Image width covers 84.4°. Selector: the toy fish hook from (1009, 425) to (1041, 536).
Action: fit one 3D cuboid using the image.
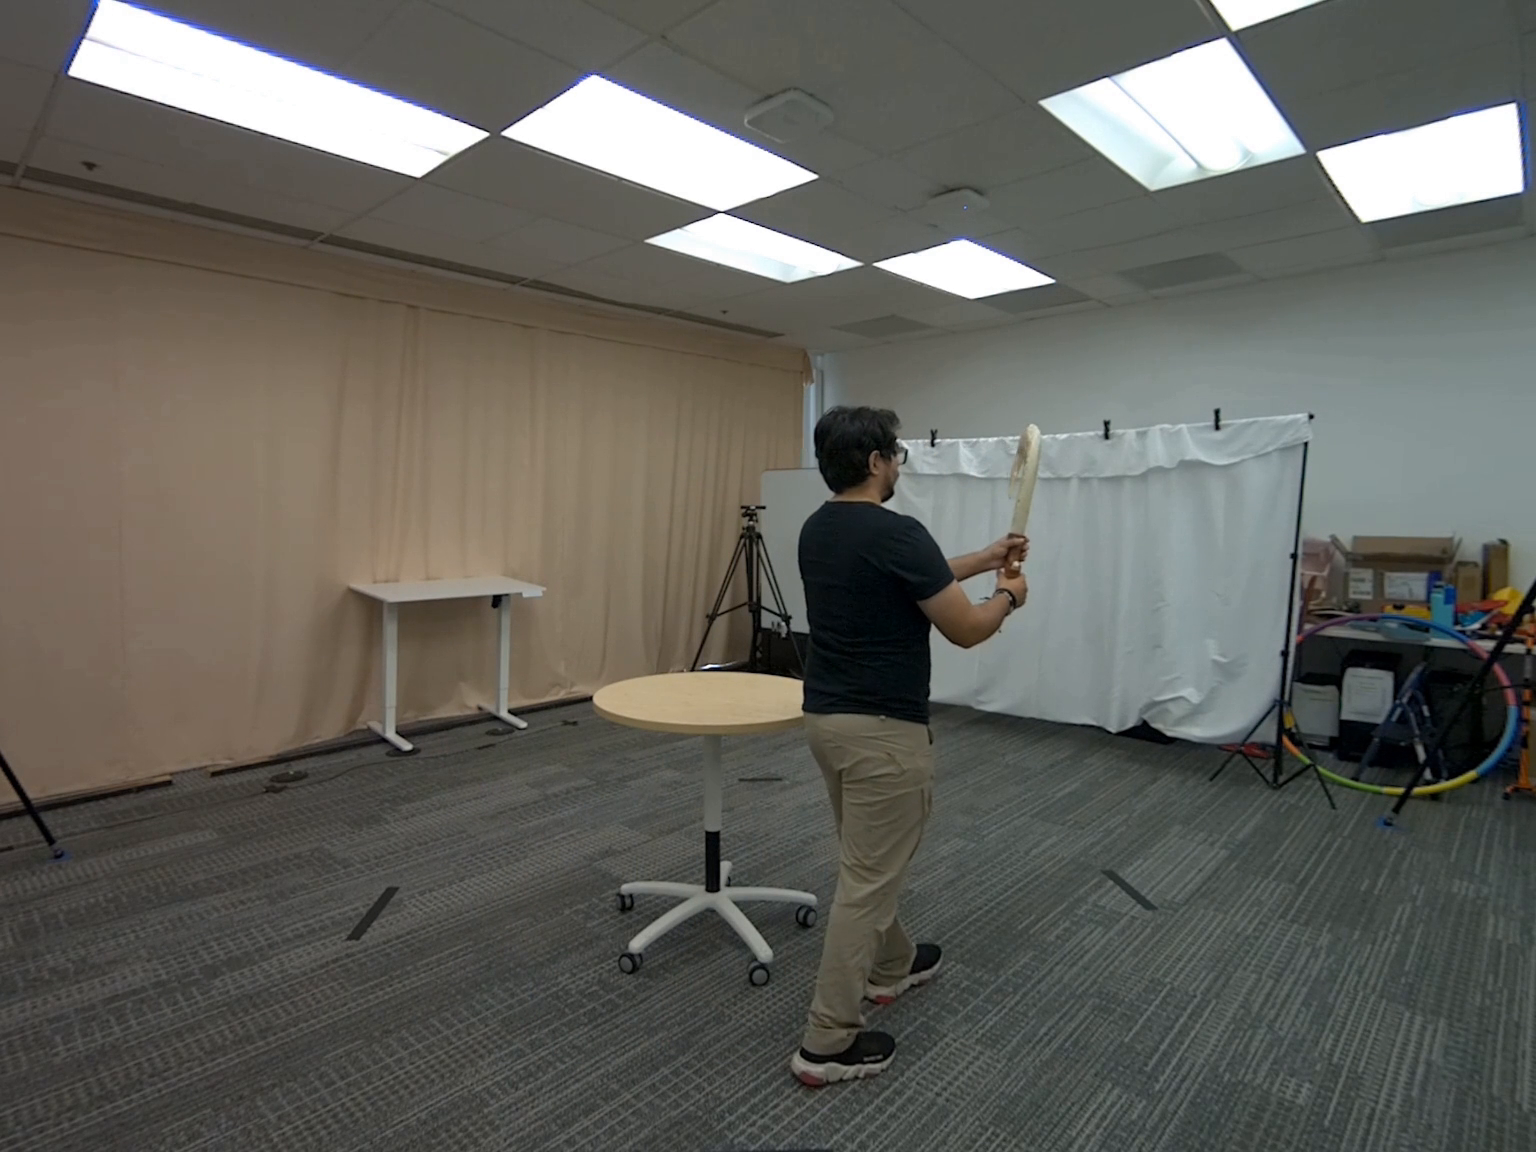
[{"bbox_3d":[0.705,-0.169,2.339,0.049,0.507,0.222,10,0,7],"label":"toy fish hook"}]
